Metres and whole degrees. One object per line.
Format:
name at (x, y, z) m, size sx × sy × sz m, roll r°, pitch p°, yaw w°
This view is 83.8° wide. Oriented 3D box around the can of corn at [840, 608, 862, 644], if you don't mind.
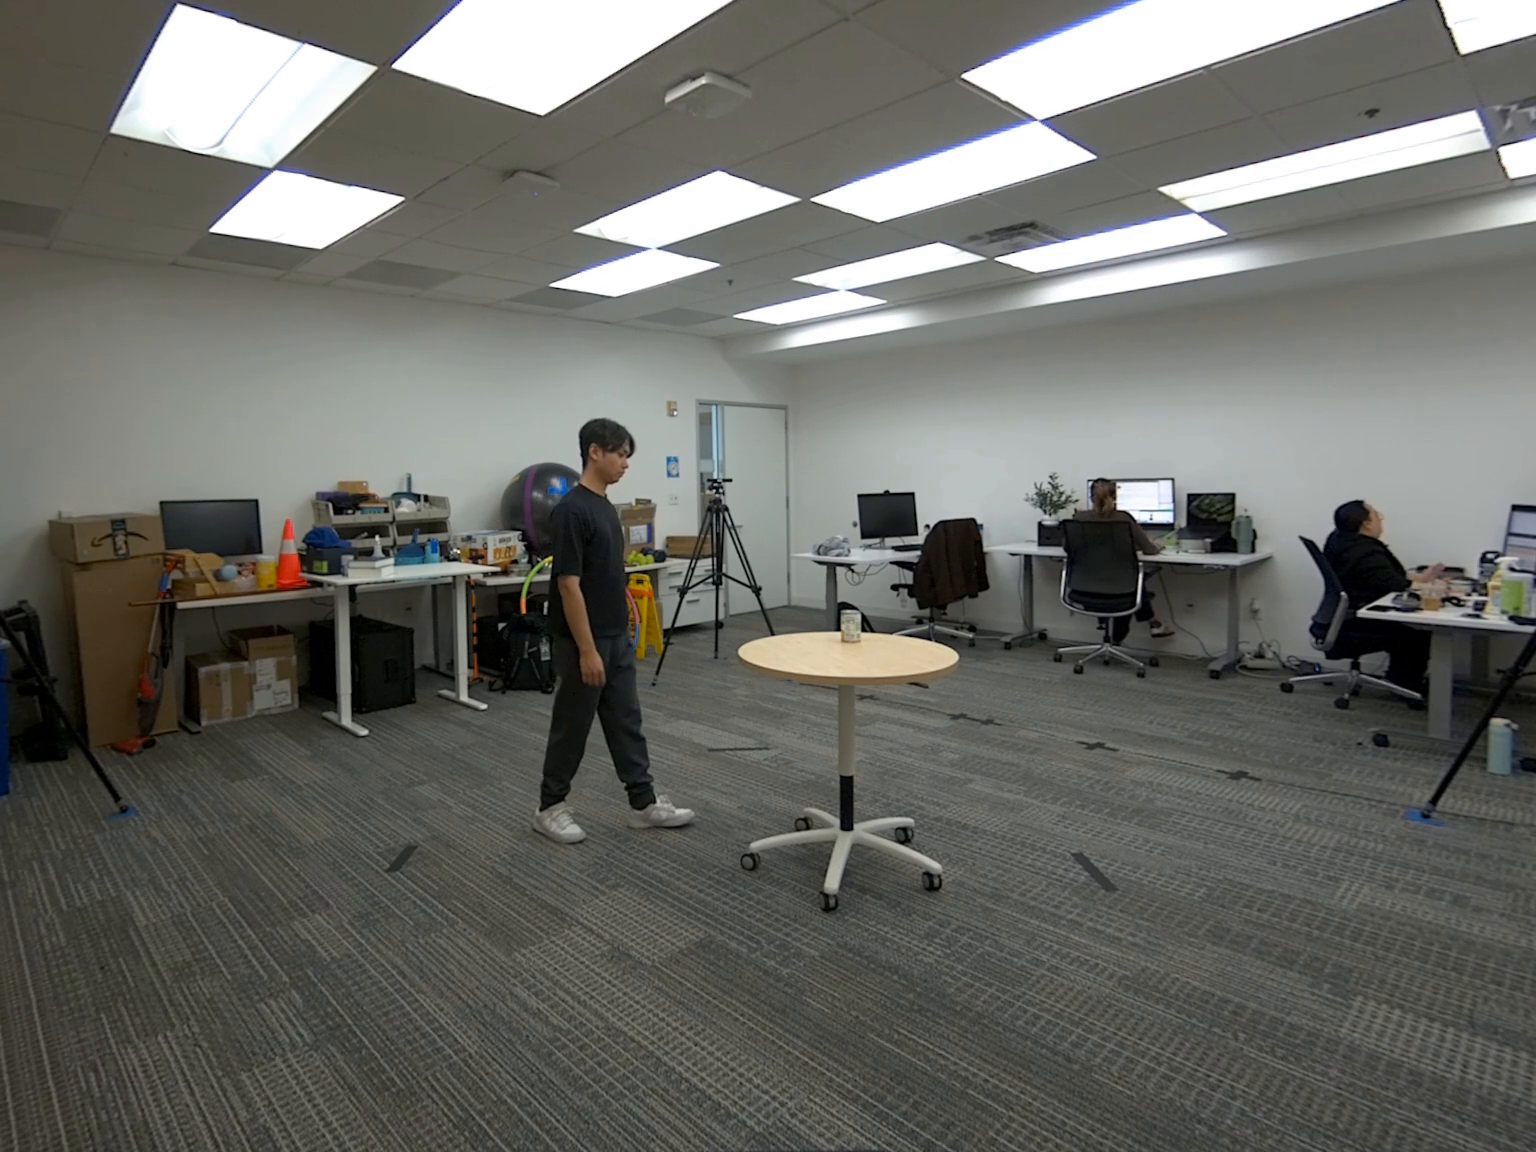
can of corn at (0.308, 0.187, 3.200) m, size 0.074 × 0.111 × 0.074 m, roll 1°, pitch 3°, yaw -2°
